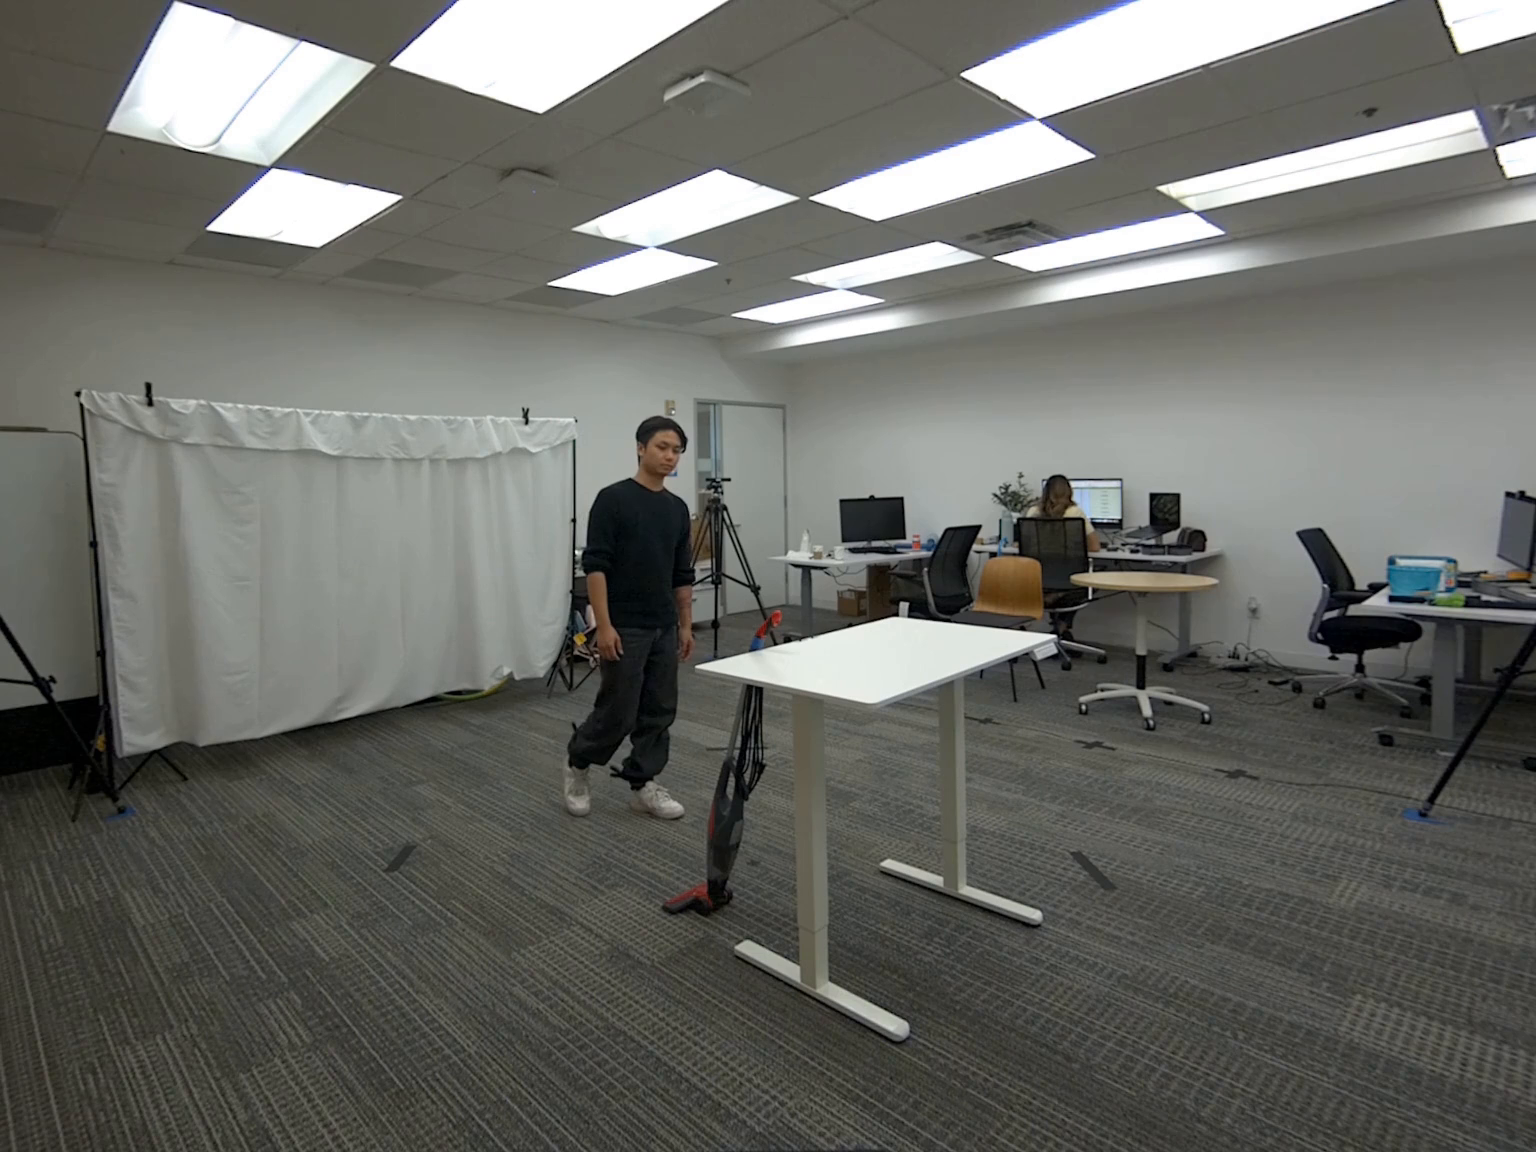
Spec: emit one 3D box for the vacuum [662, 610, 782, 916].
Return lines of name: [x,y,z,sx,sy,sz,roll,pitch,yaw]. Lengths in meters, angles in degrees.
vacuum: [-0.093,0.601,2.666,0.149,1.037,0.246,27,22,35]
